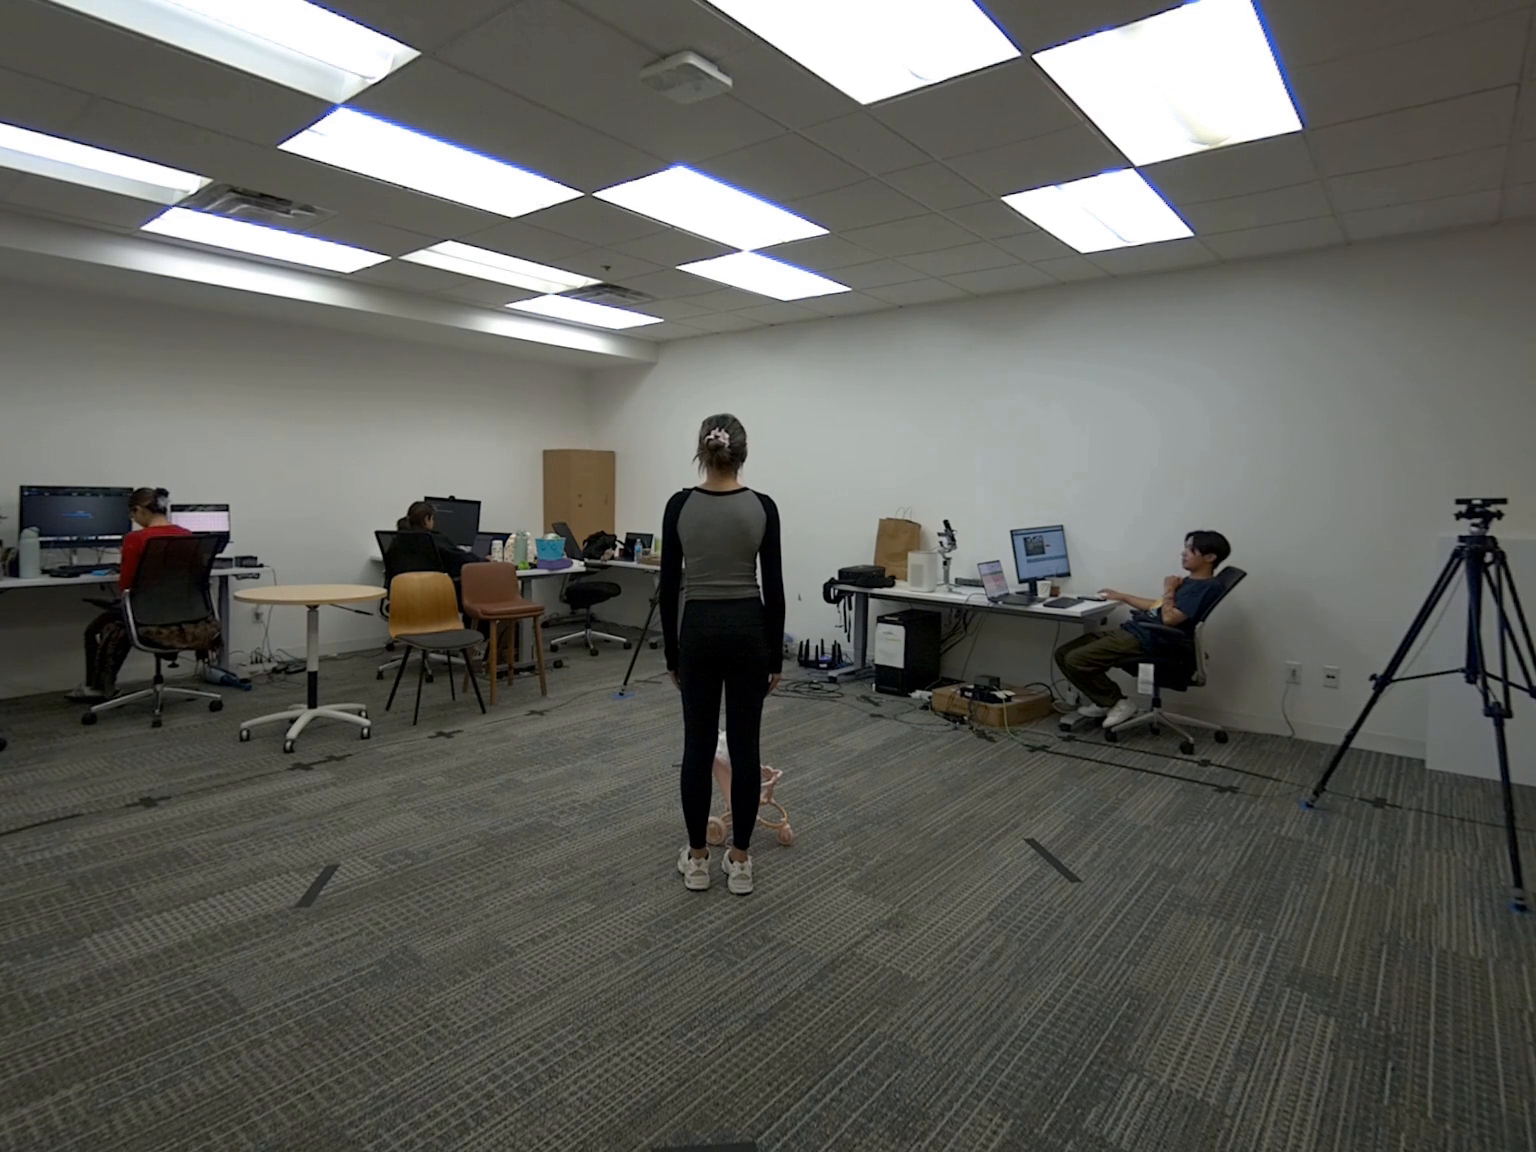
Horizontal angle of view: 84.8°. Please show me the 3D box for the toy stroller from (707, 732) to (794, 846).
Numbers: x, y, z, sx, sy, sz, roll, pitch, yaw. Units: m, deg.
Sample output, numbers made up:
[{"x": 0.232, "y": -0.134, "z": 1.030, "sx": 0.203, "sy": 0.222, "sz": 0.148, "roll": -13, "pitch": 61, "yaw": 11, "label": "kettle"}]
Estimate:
[{"x": -0.112, "y": 0.816, "z": 3.402, "sx": 0.348, "sy": 0.537, "sz": 0.275, "roll": -14, "pitch": -3, "yaw": 26, "label": "toy stroller"}]
